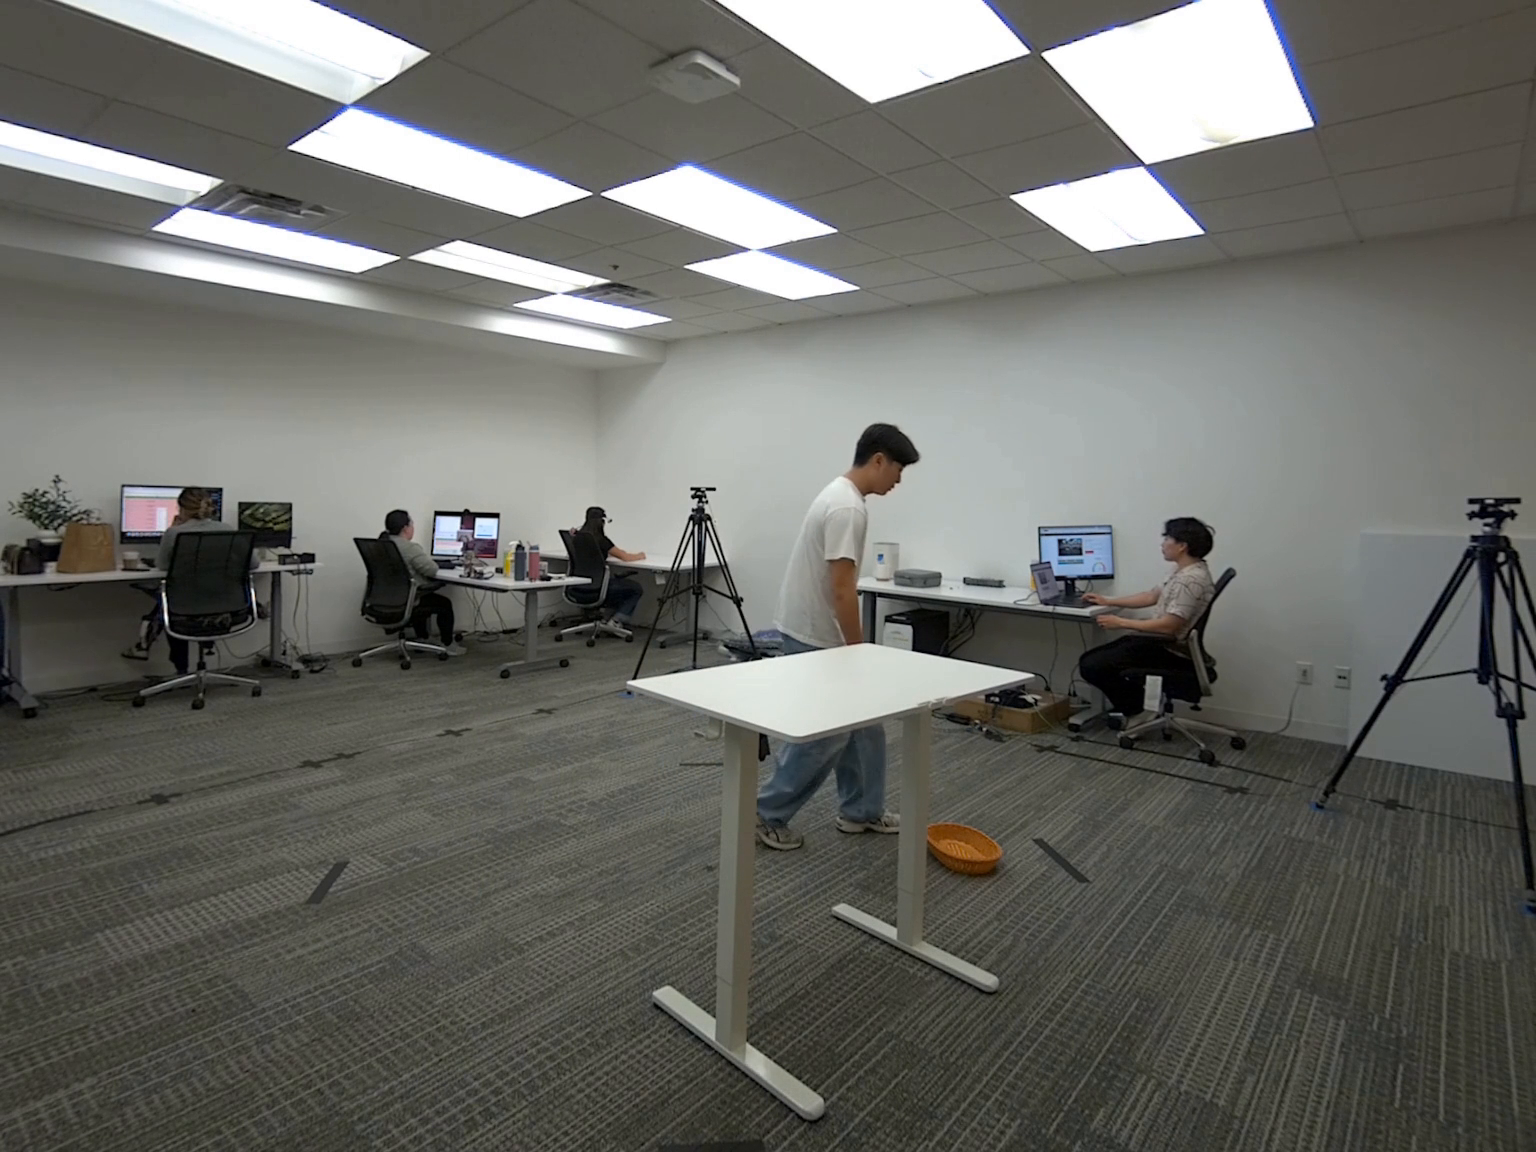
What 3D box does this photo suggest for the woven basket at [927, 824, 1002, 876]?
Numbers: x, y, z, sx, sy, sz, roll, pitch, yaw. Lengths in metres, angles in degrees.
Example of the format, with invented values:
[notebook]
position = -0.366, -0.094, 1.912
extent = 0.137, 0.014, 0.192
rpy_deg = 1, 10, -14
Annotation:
[woven basket]
position = 0.725, 1.038, 3.244
extent = 0.249, 0.073, 0.356
rpy_deg = 2, 5, -11
